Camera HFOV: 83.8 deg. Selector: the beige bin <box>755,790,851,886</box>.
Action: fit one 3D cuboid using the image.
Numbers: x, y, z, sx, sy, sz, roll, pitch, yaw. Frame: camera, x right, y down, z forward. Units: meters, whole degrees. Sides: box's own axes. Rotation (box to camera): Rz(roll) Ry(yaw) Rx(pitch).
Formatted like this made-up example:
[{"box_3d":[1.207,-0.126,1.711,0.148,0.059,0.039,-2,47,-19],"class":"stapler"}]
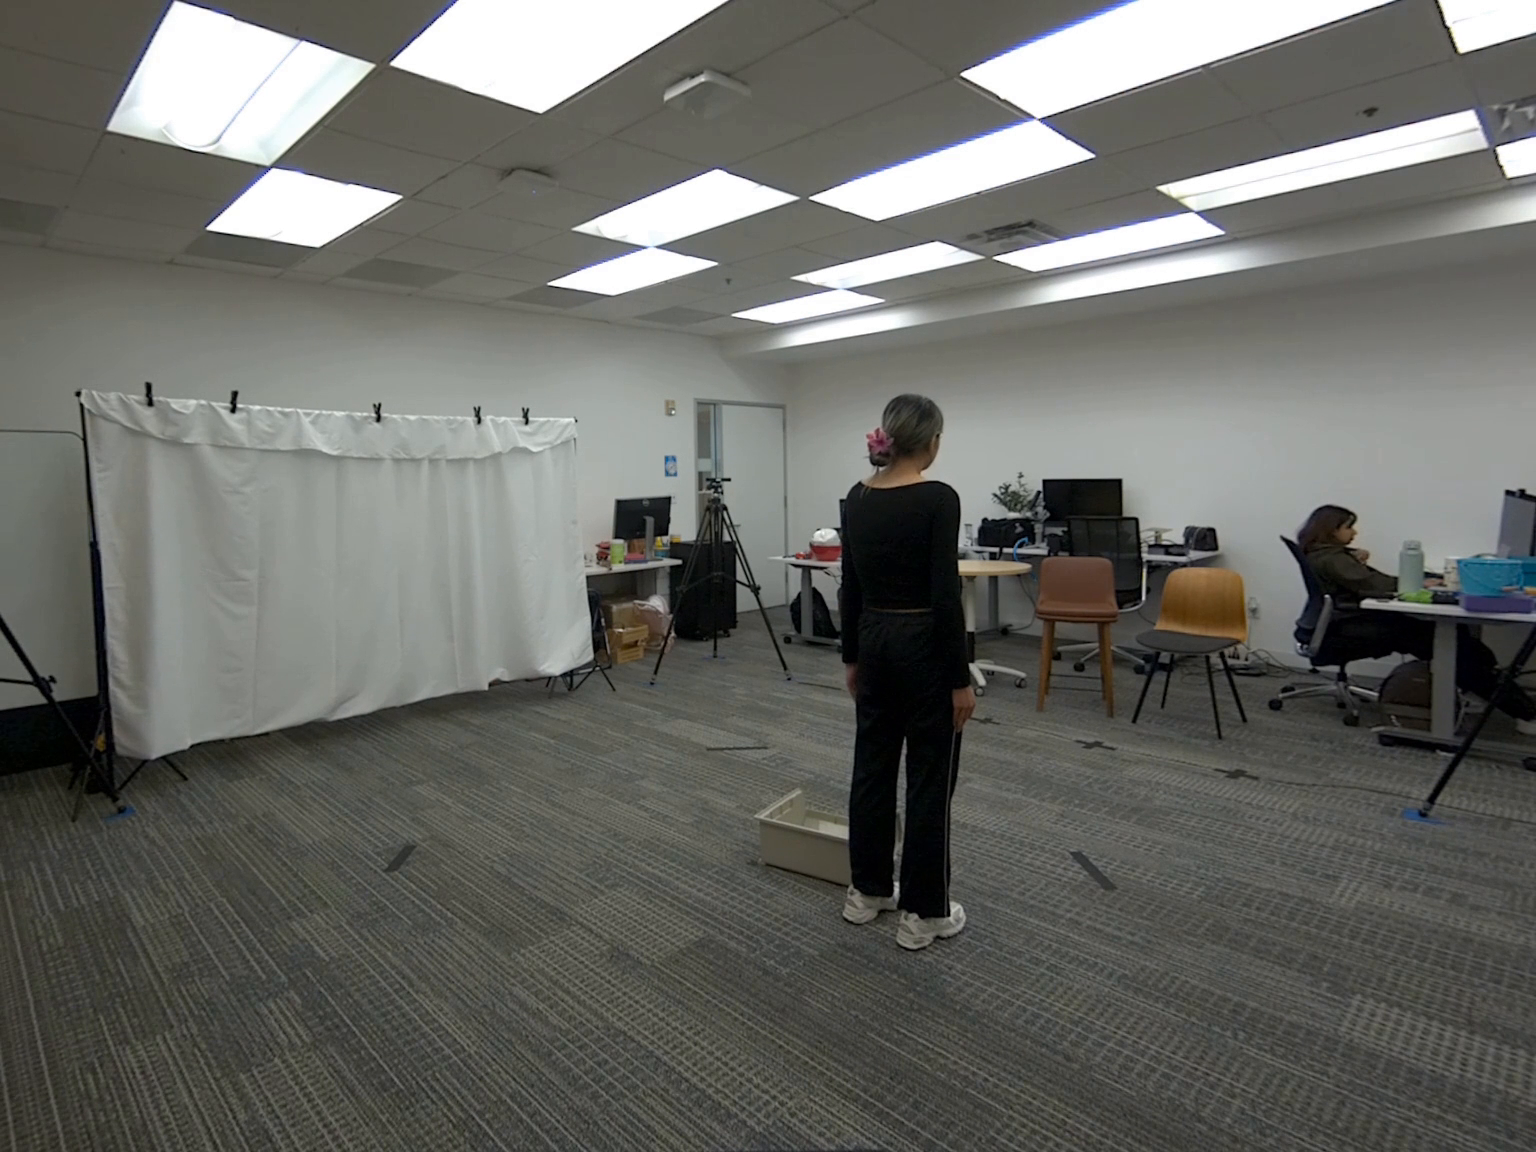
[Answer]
[{"box_3d":[0.228,0.950,3.122,0.434,0.188,0.369,4,8,32],"class":"beige bin"}]
